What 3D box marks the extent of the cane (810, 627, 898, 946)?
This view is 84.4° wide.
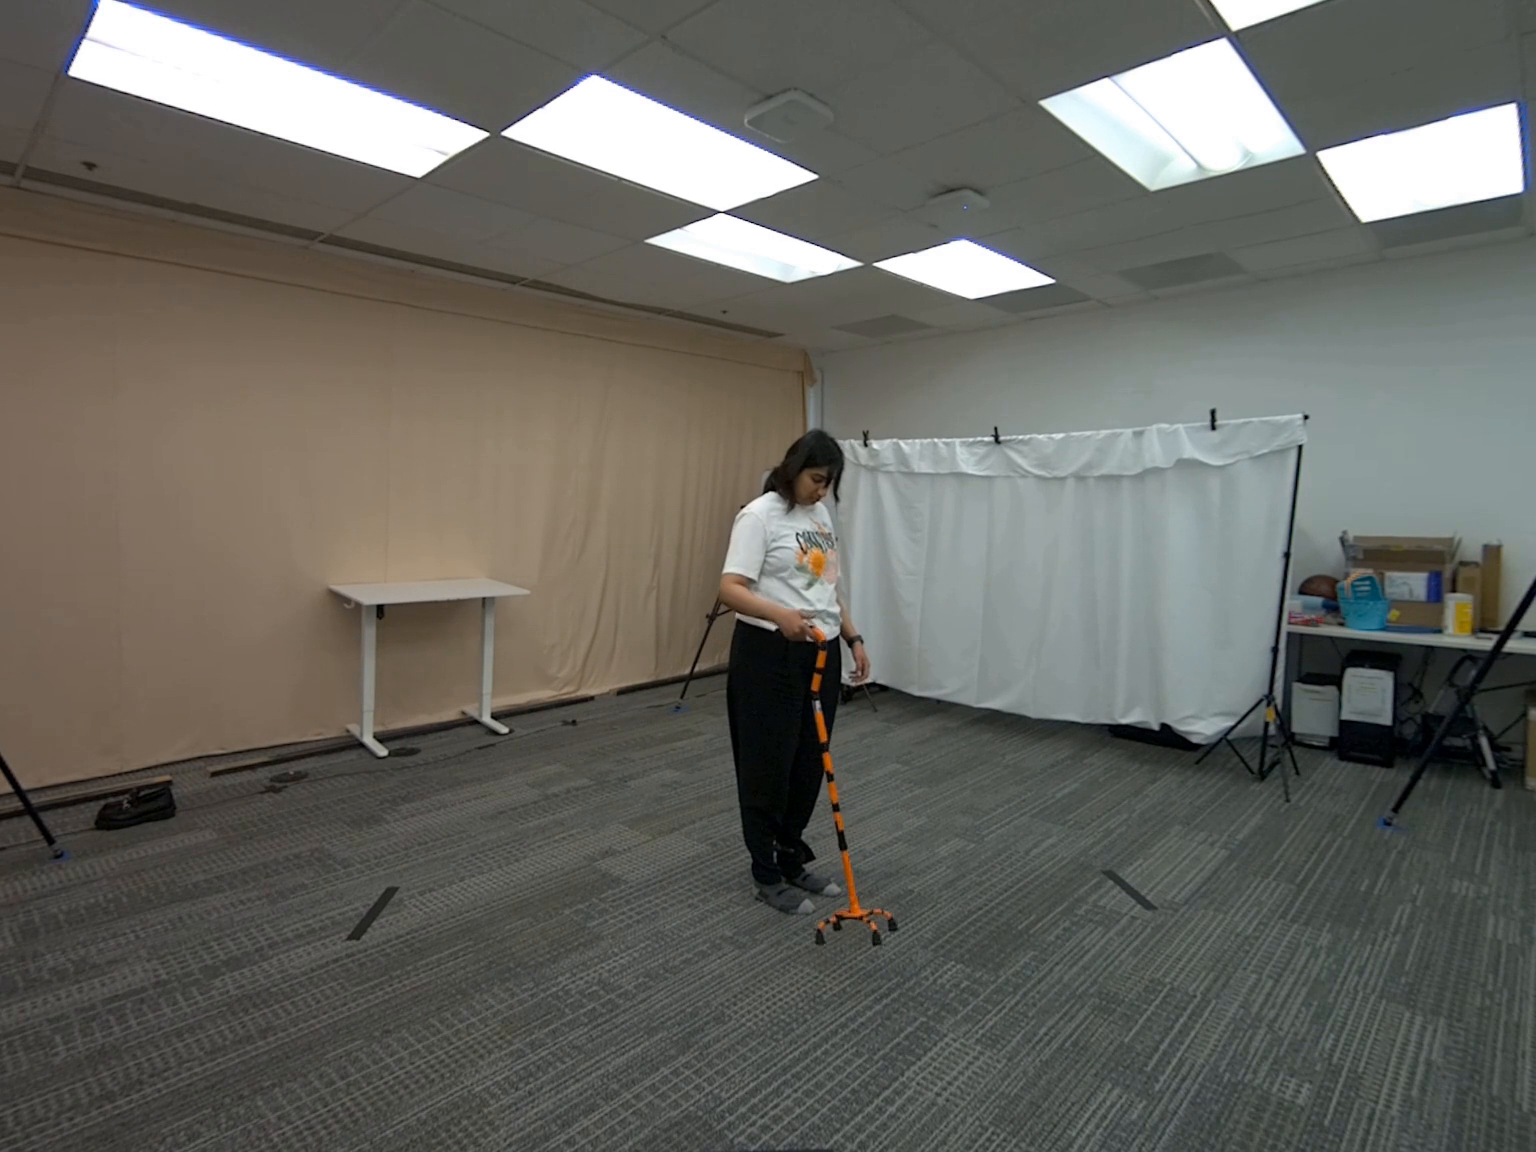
[{"bbox_3d":[0.177,0.605,2.501,0.211,0.914,0.147,-14,-10,31],"label":"cane"}]
